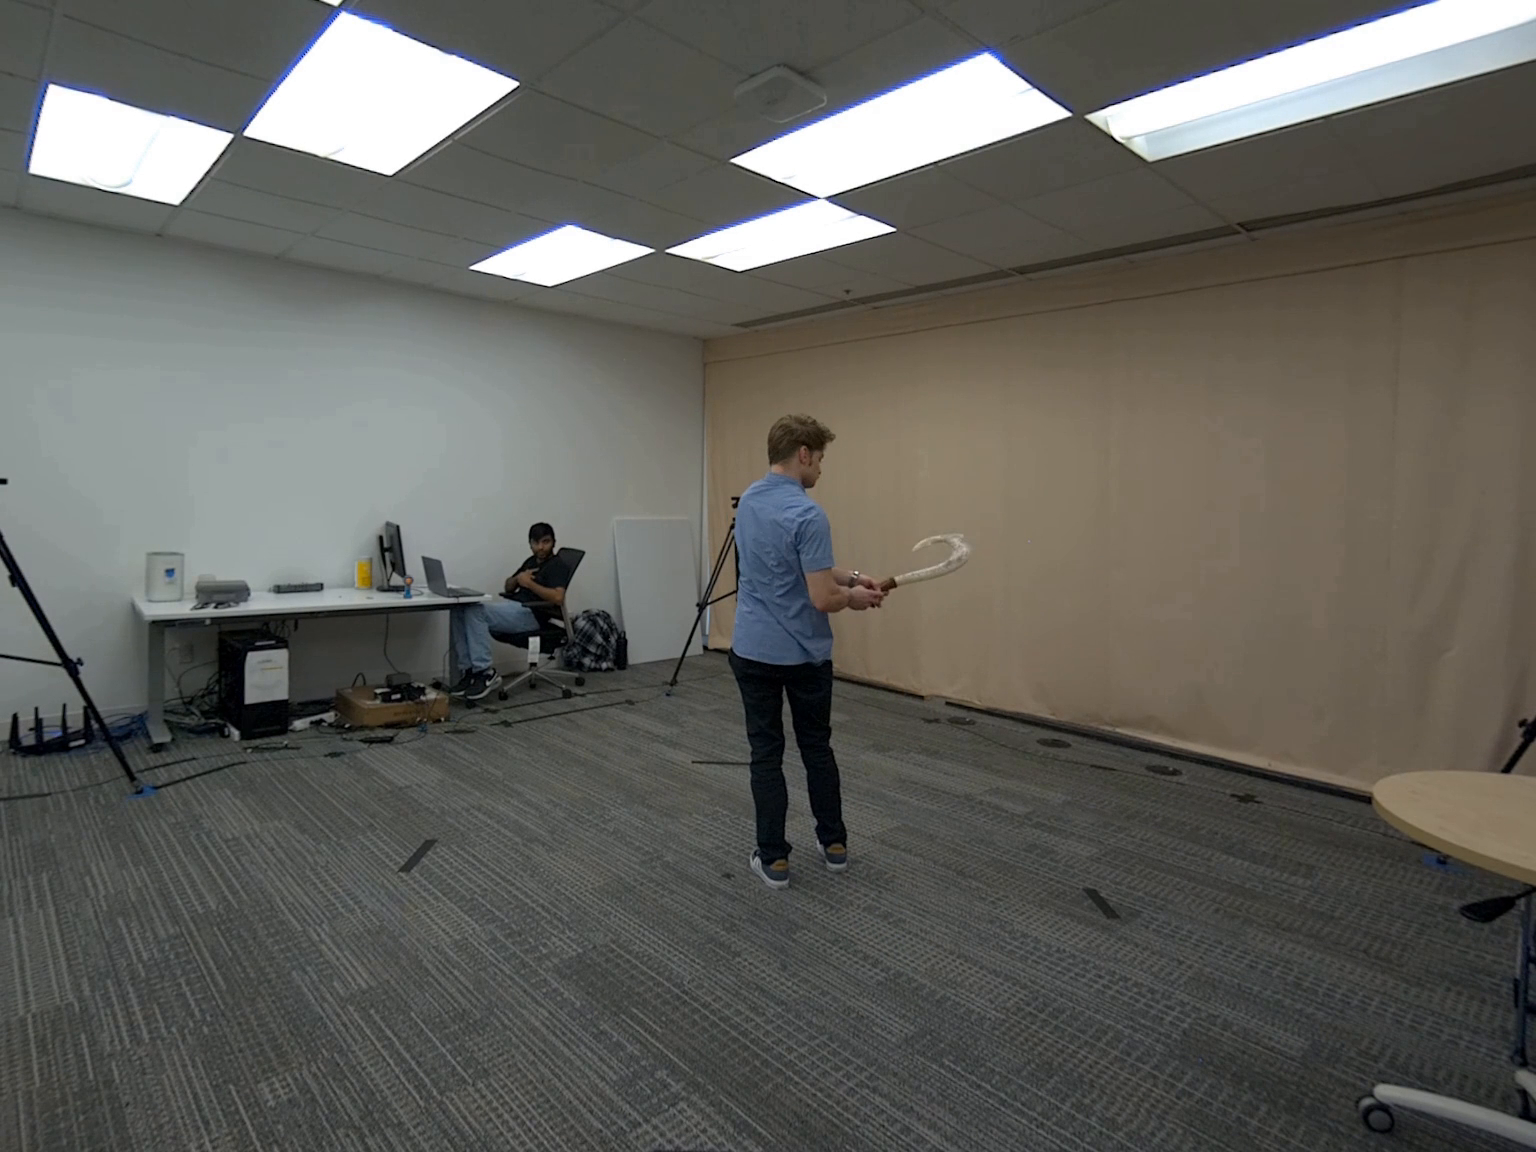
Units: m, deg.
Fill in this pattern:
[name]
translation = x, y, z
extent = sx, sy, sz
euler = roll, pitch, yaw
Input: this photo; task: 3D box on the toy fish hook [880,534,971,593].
[toy fish hook]
translation = 0.500, -0.024, 3.183
extent = 0.508, 0.047, 0.230
euler = -24, 33, 8
